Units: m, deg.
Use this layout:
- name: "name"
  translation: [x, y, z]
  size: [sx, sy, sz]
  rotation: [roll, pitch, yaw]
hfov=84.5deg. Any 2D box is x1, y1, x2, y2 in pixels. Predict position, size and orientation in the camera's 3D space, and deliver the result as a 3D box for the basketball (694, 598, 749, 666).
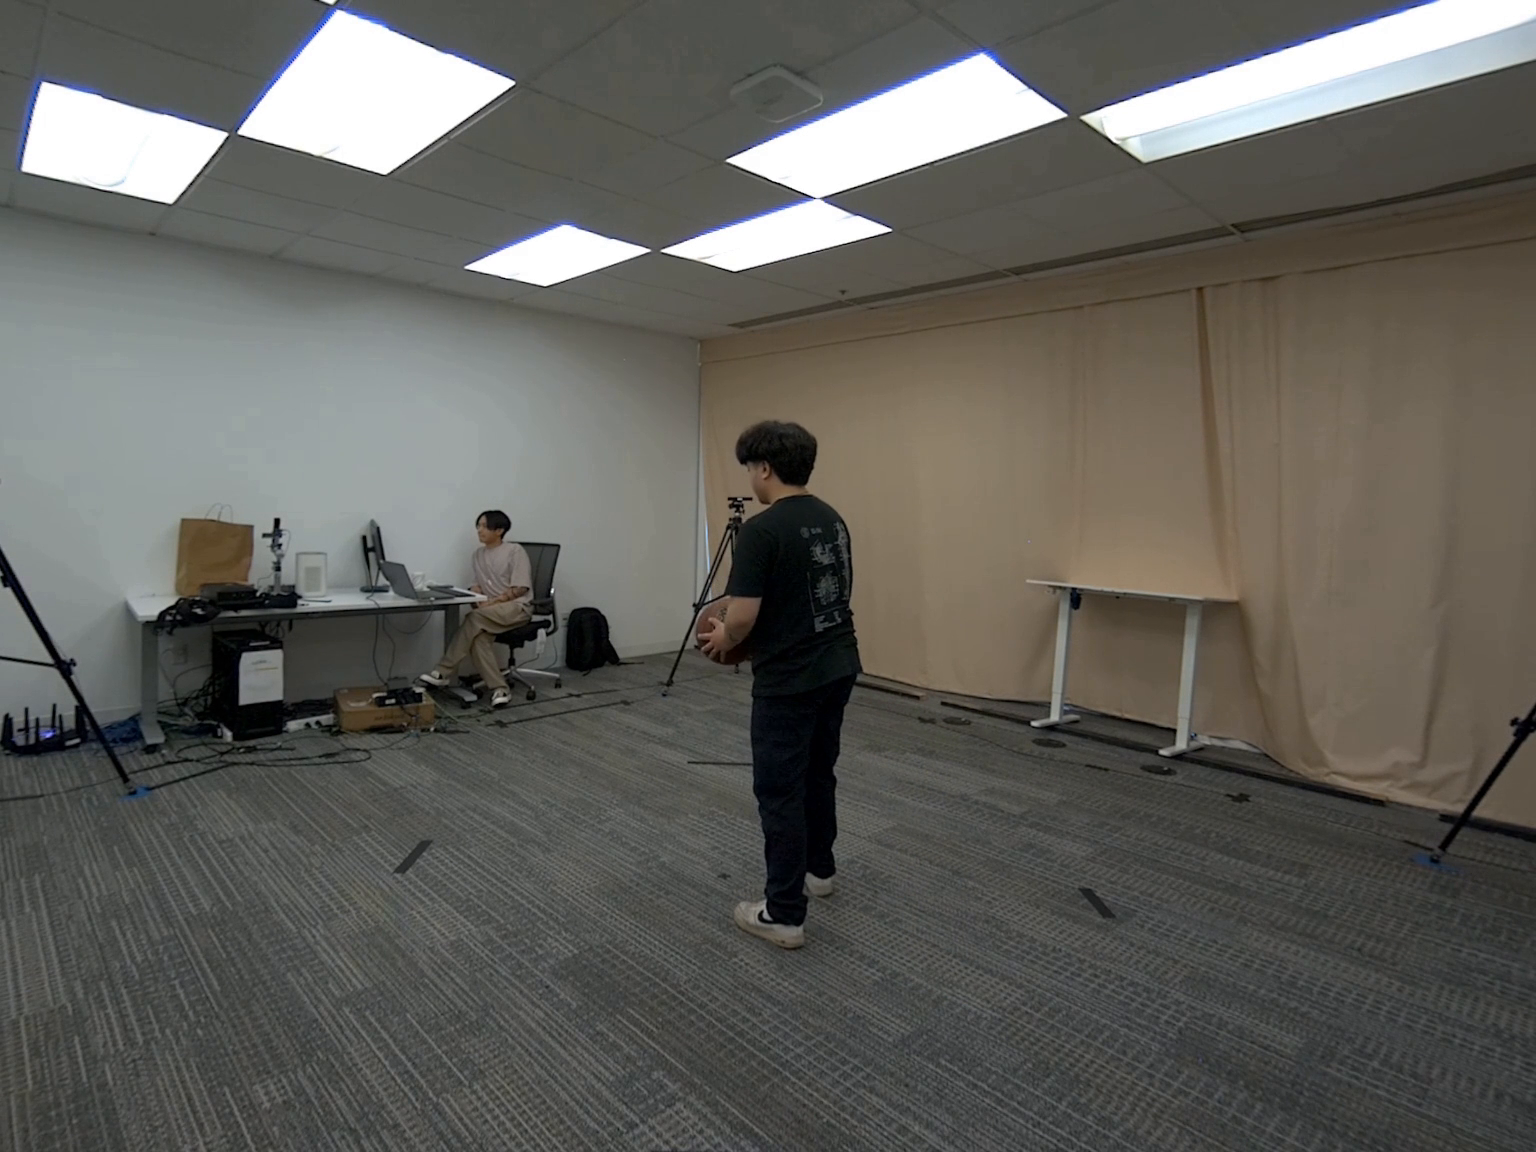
- name: "basketball"
  translation: [-0.141, 0.199, 3.043]
  size: [0.236, 0.235, 0.237]
  rotation: [1, 4, -1]
